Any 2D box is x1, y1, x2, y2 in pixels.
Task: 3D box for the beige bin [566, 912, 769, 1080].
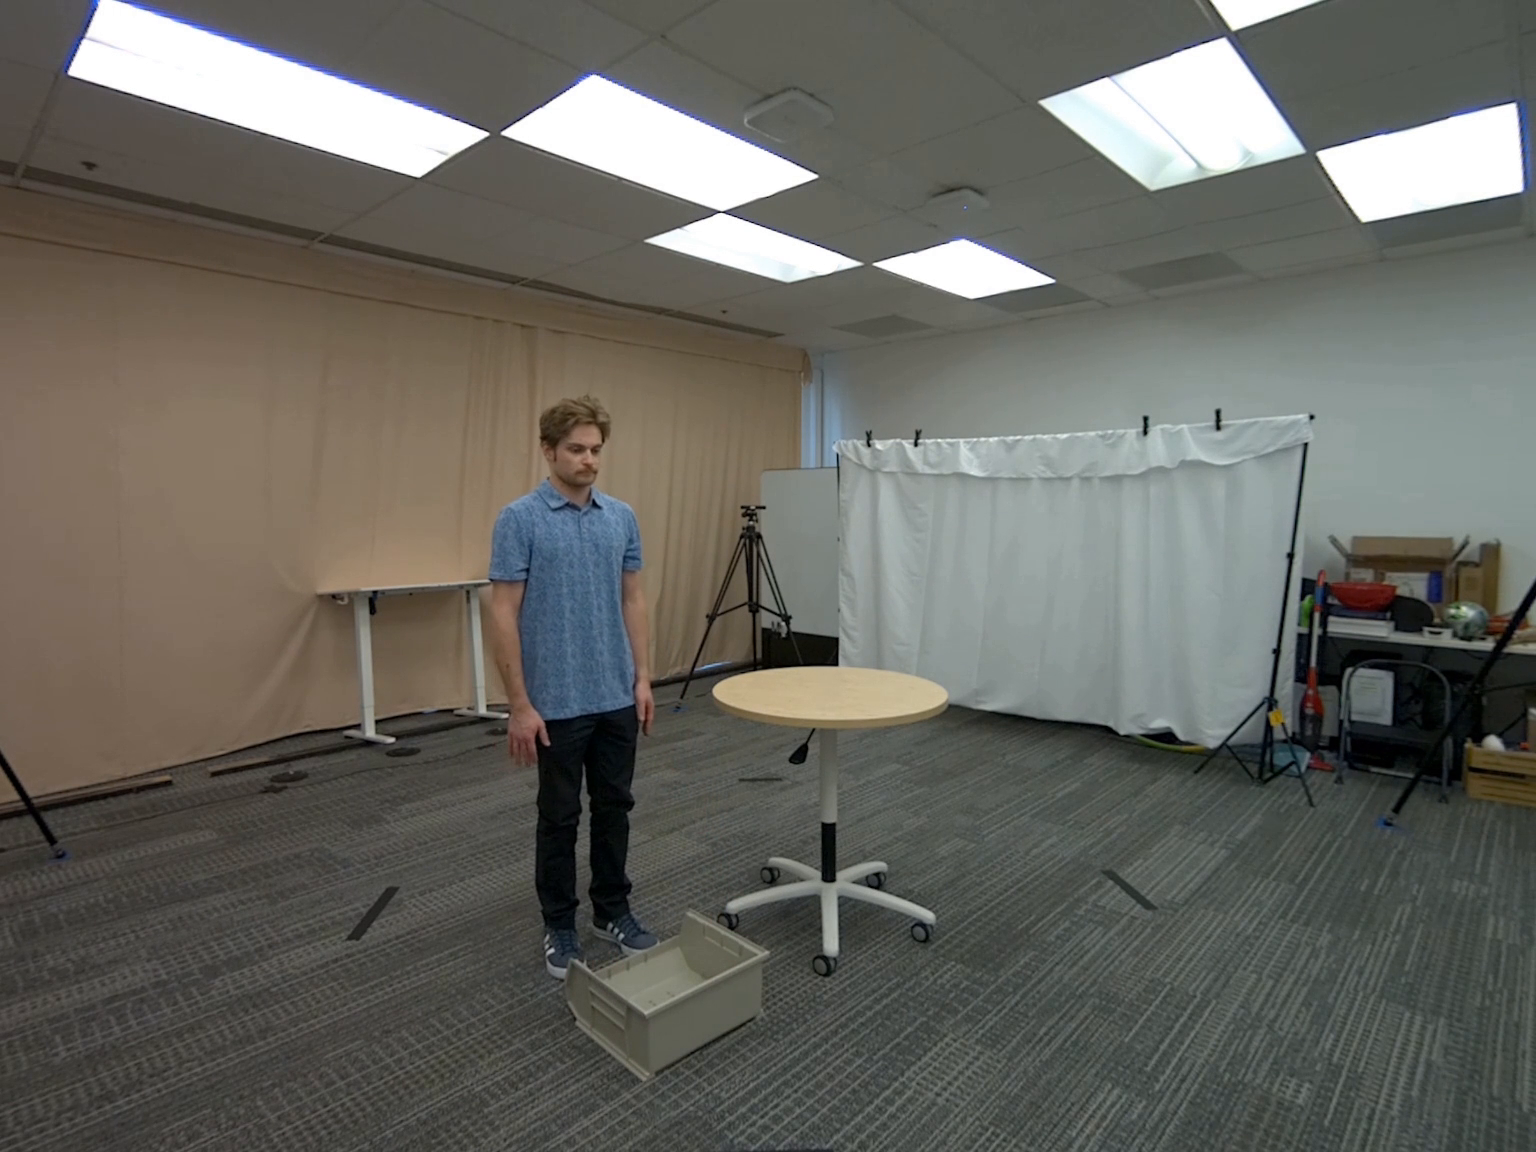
[{"bbox_3d":[-0.275,1.118,2.291,0.409,0.188,0.390,-3,6,-43],"label":"beige bin"}]
